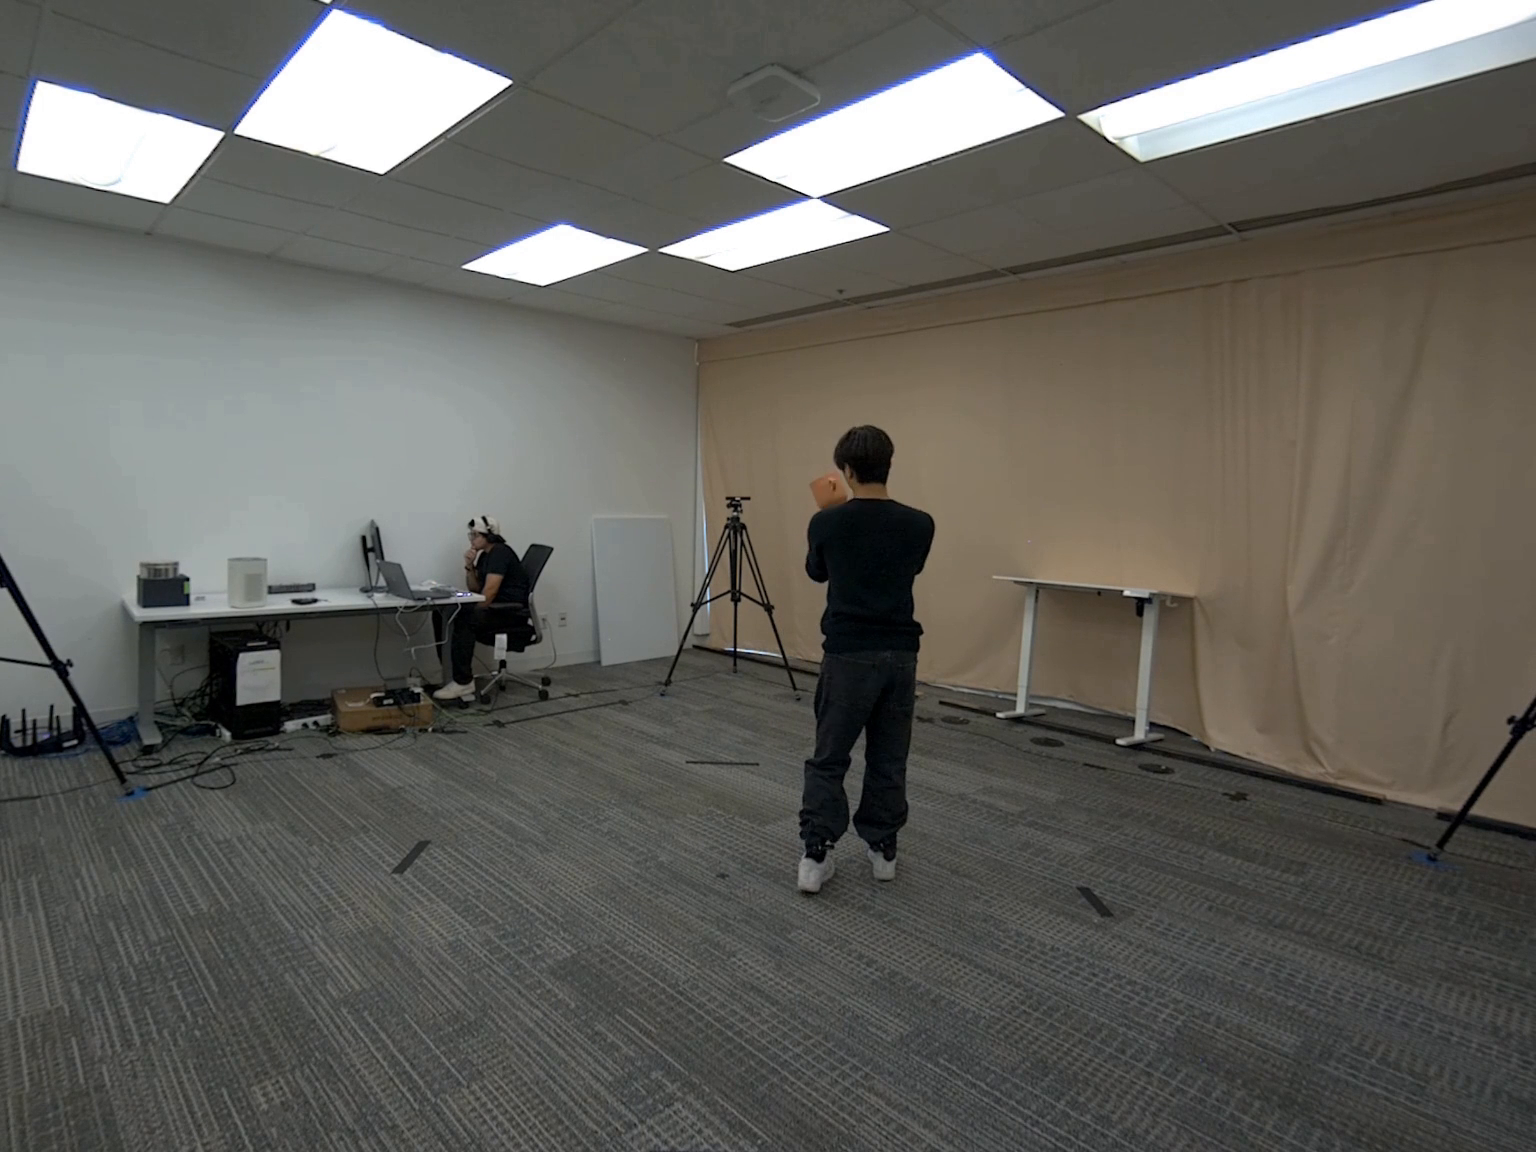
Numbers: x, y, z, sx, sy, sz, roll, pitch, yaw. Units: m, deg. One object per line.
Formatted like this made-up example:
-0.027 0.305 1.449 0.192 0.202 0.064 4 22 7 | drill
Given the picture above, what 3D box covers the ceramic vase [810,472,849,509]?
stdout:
0.262 -0.305 3.519 0.136 0.222 0.156 -26 -10 26 | ceramic vase
